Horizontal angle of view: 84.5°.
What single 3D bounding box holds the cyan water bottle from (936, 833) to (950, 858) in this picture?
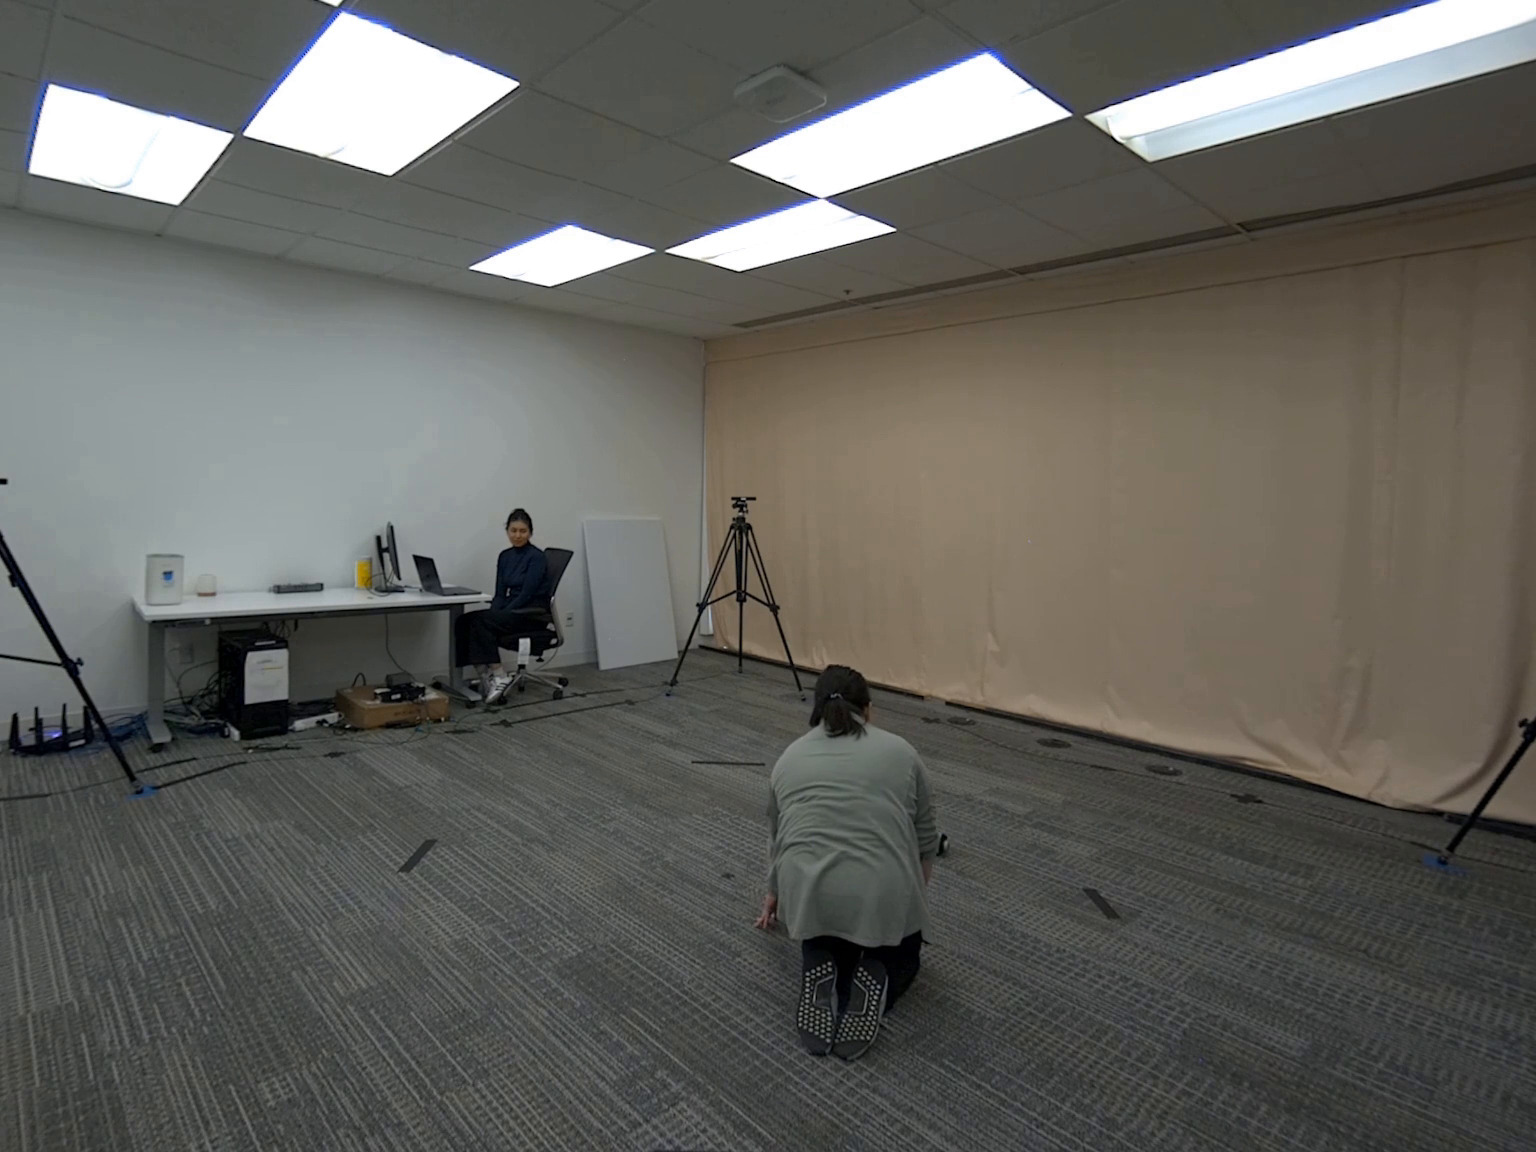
[{"bbox_3d":[0.581,1.055,3.382,0.288,0.092,0.091,4,5,21],"label":"cyan water bottle"}]
